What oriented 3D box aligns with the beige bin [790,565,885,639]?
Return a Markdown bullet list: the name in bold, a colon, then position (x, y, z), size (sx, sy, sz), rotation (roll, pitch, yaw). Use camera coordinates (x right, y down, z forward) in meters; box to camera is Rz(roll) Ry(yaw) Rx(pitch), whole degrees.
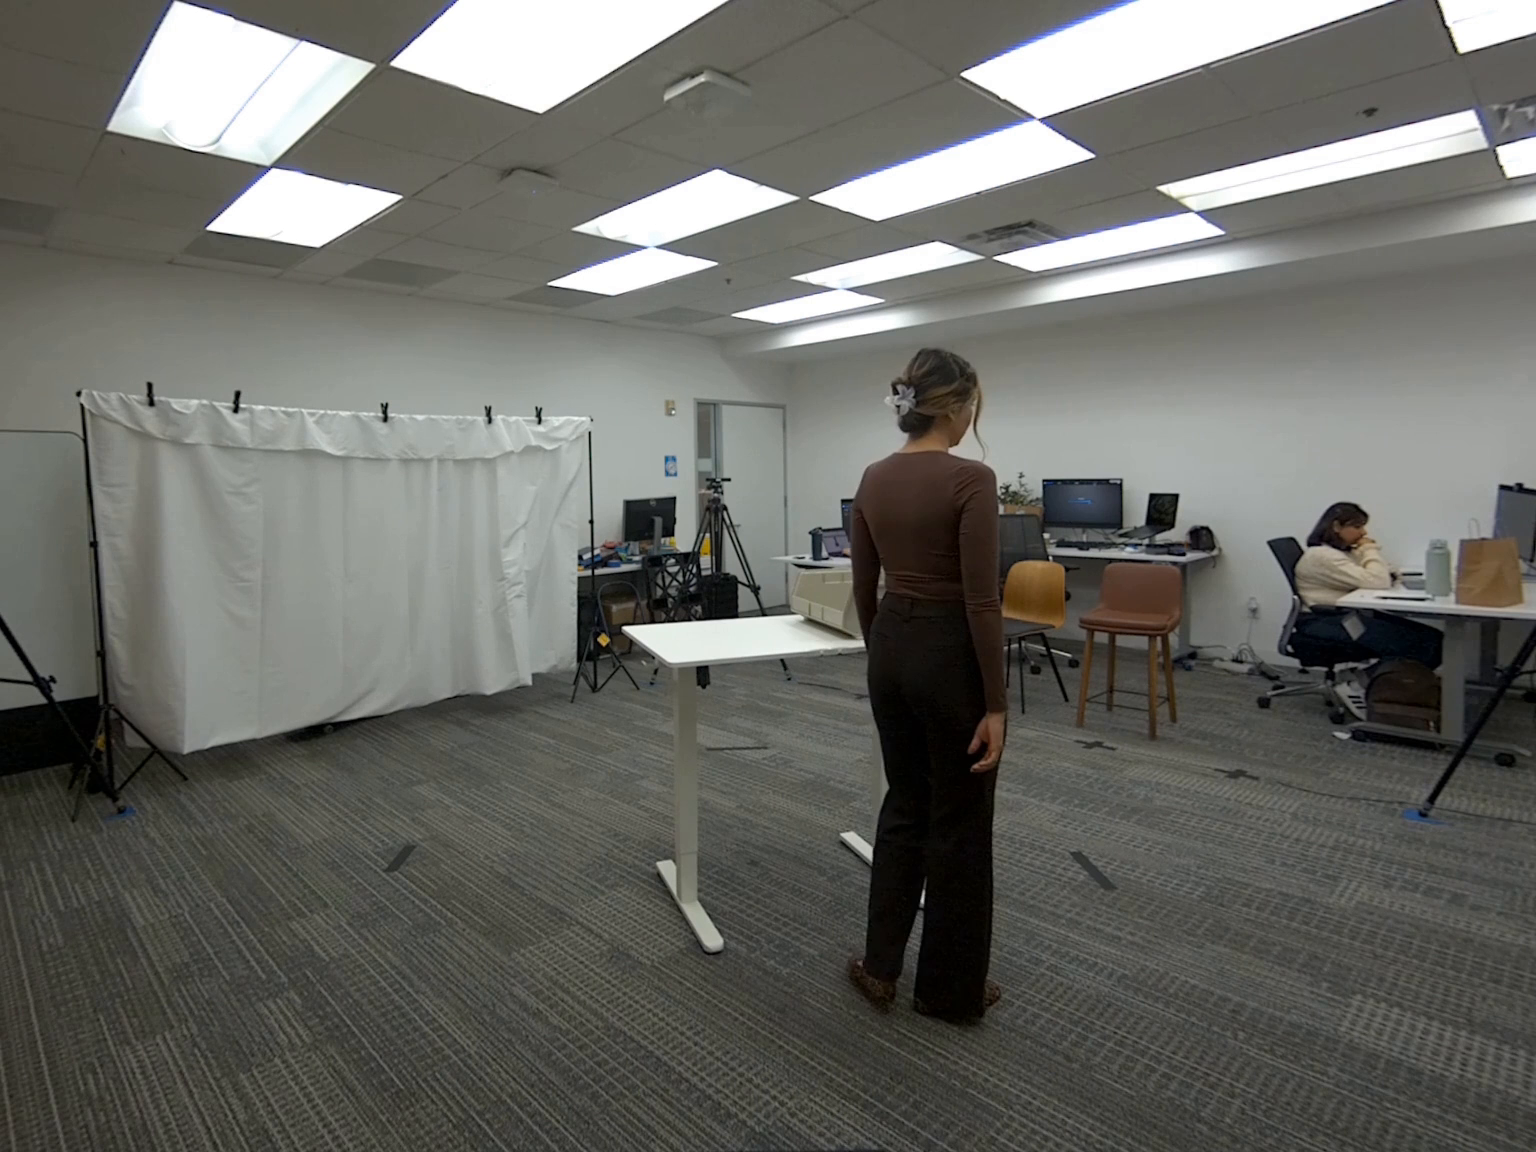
- **beige bin**: position (0.335, 0.086, 2.922), size (0.370, 0.188, 0.432), rotation (-1, 6, -21)
